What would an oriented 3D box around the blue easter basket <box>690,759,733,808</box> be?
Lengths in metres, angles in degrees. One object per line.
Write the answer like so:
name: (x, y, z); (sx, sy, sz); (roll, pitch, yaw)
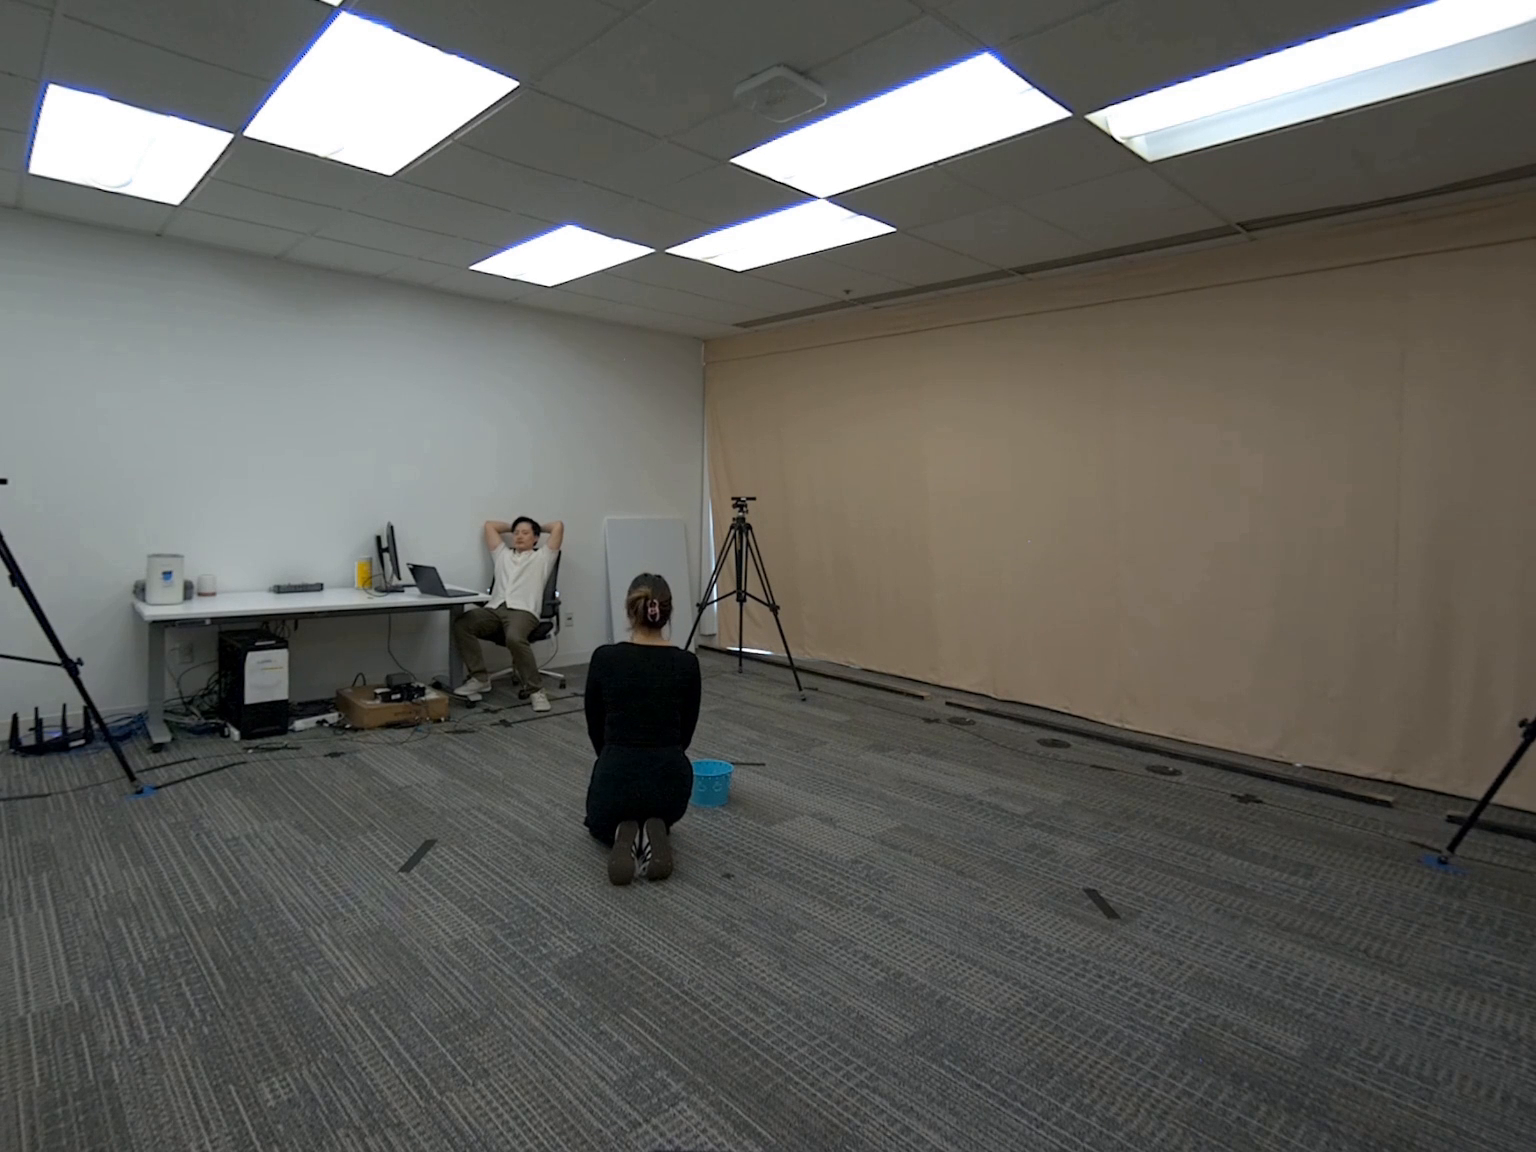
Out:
blue easter basket: (-0.279, 0.960, 3.894); (0.243, 0.155, 0.244); (2, 5, -2)
